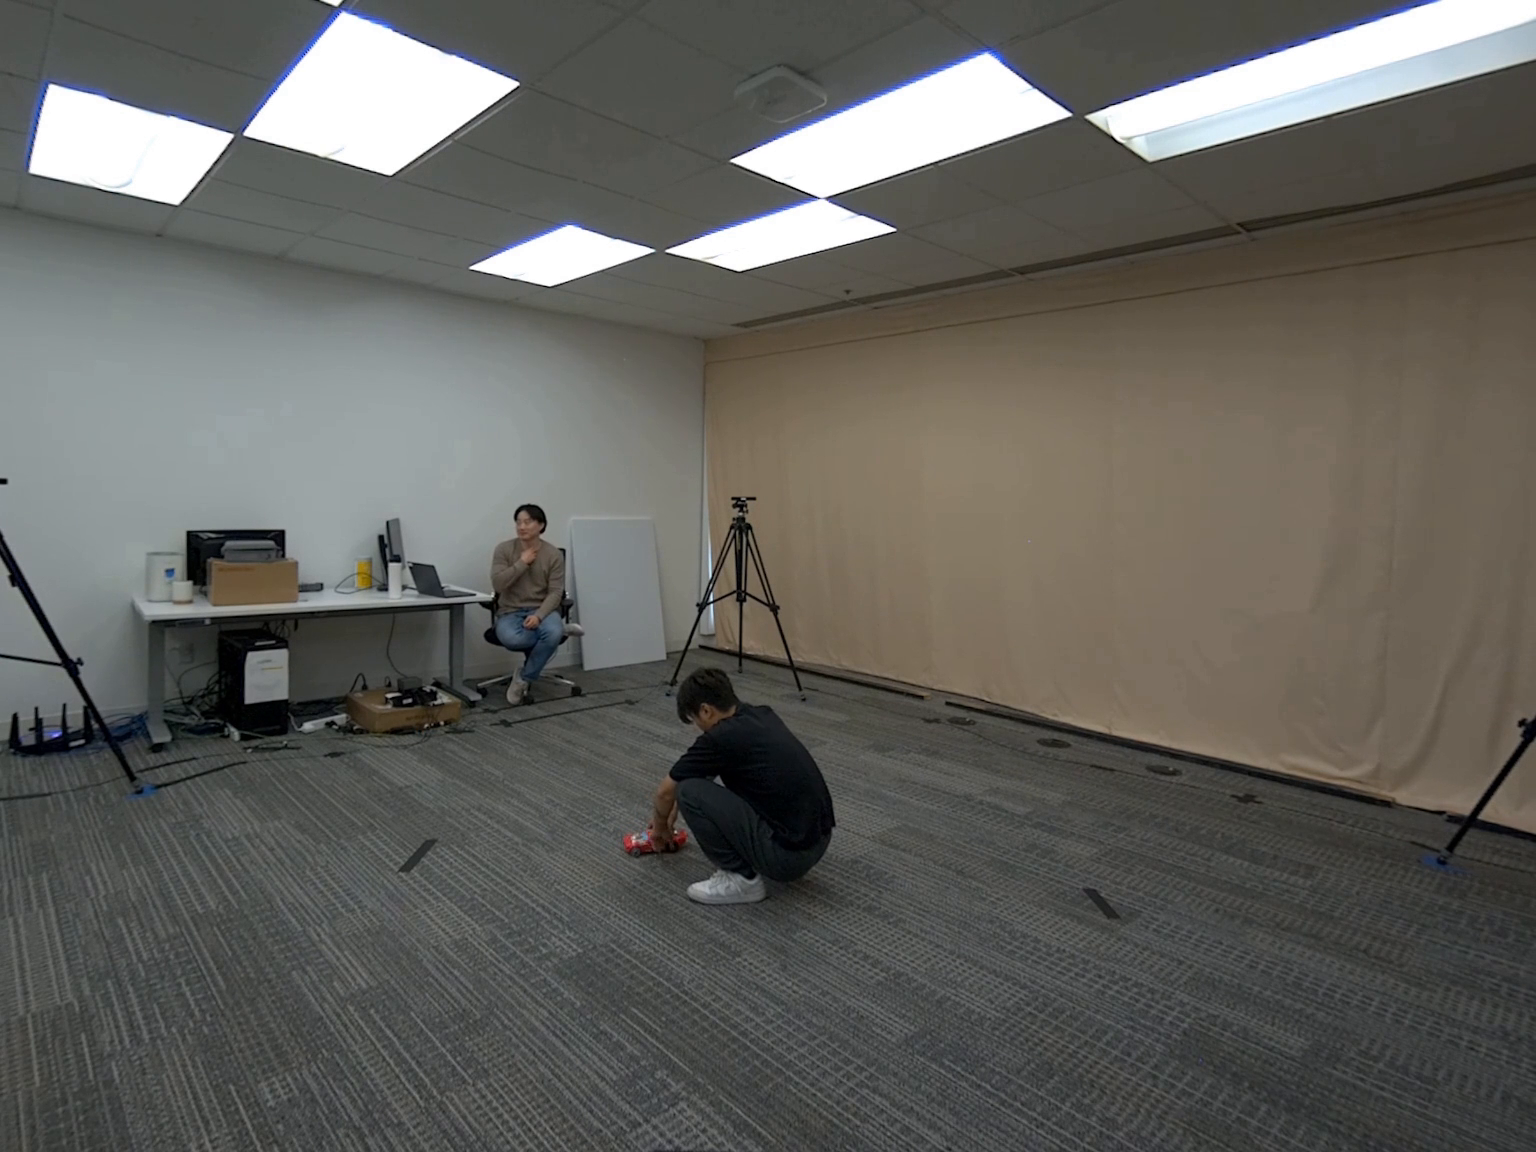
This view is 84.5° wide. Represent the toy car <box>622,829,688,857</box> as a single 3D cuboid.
[{"bbox_3d":[-0.448,1.046,3.329,0.252,0.083,0.132,-10,8,-18],"label":"toy car"}]
